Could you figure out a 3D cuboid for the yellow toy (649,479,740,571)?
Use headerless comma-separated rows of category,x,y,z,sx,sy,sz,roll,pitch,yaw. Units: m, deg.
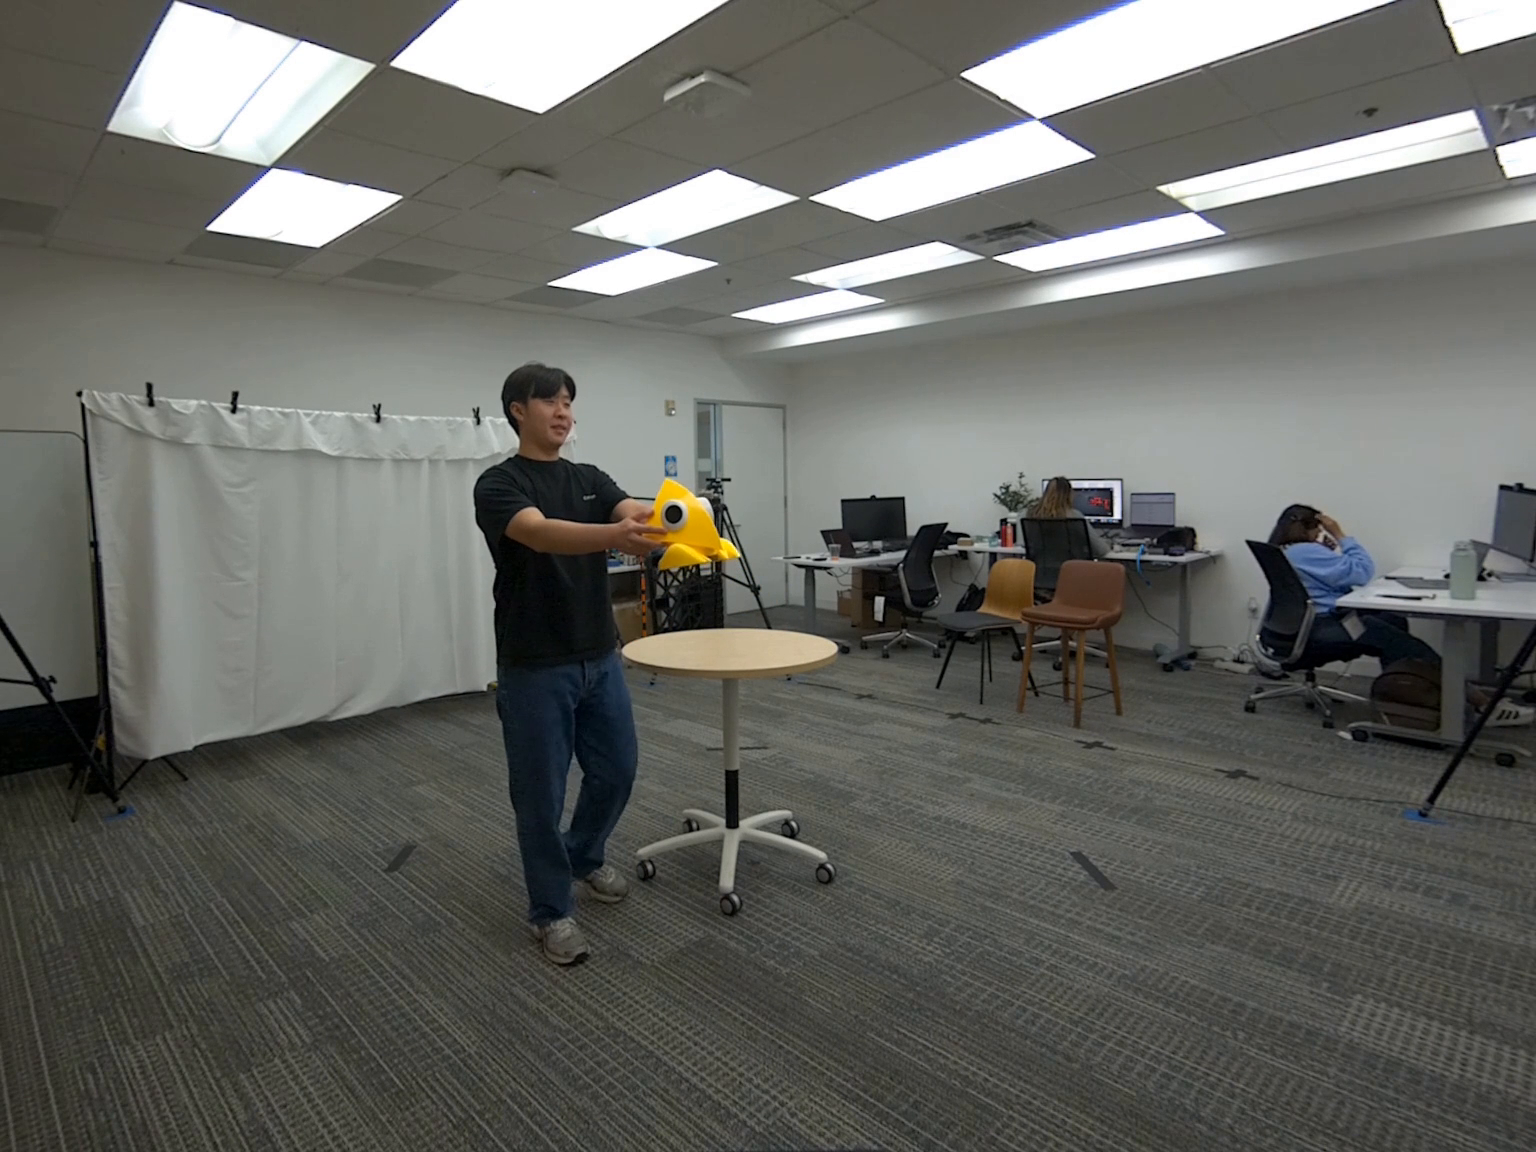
yellow toy,-0.192,-0.143,2.151,0.197,0.231,0.199,-10,-2,42
